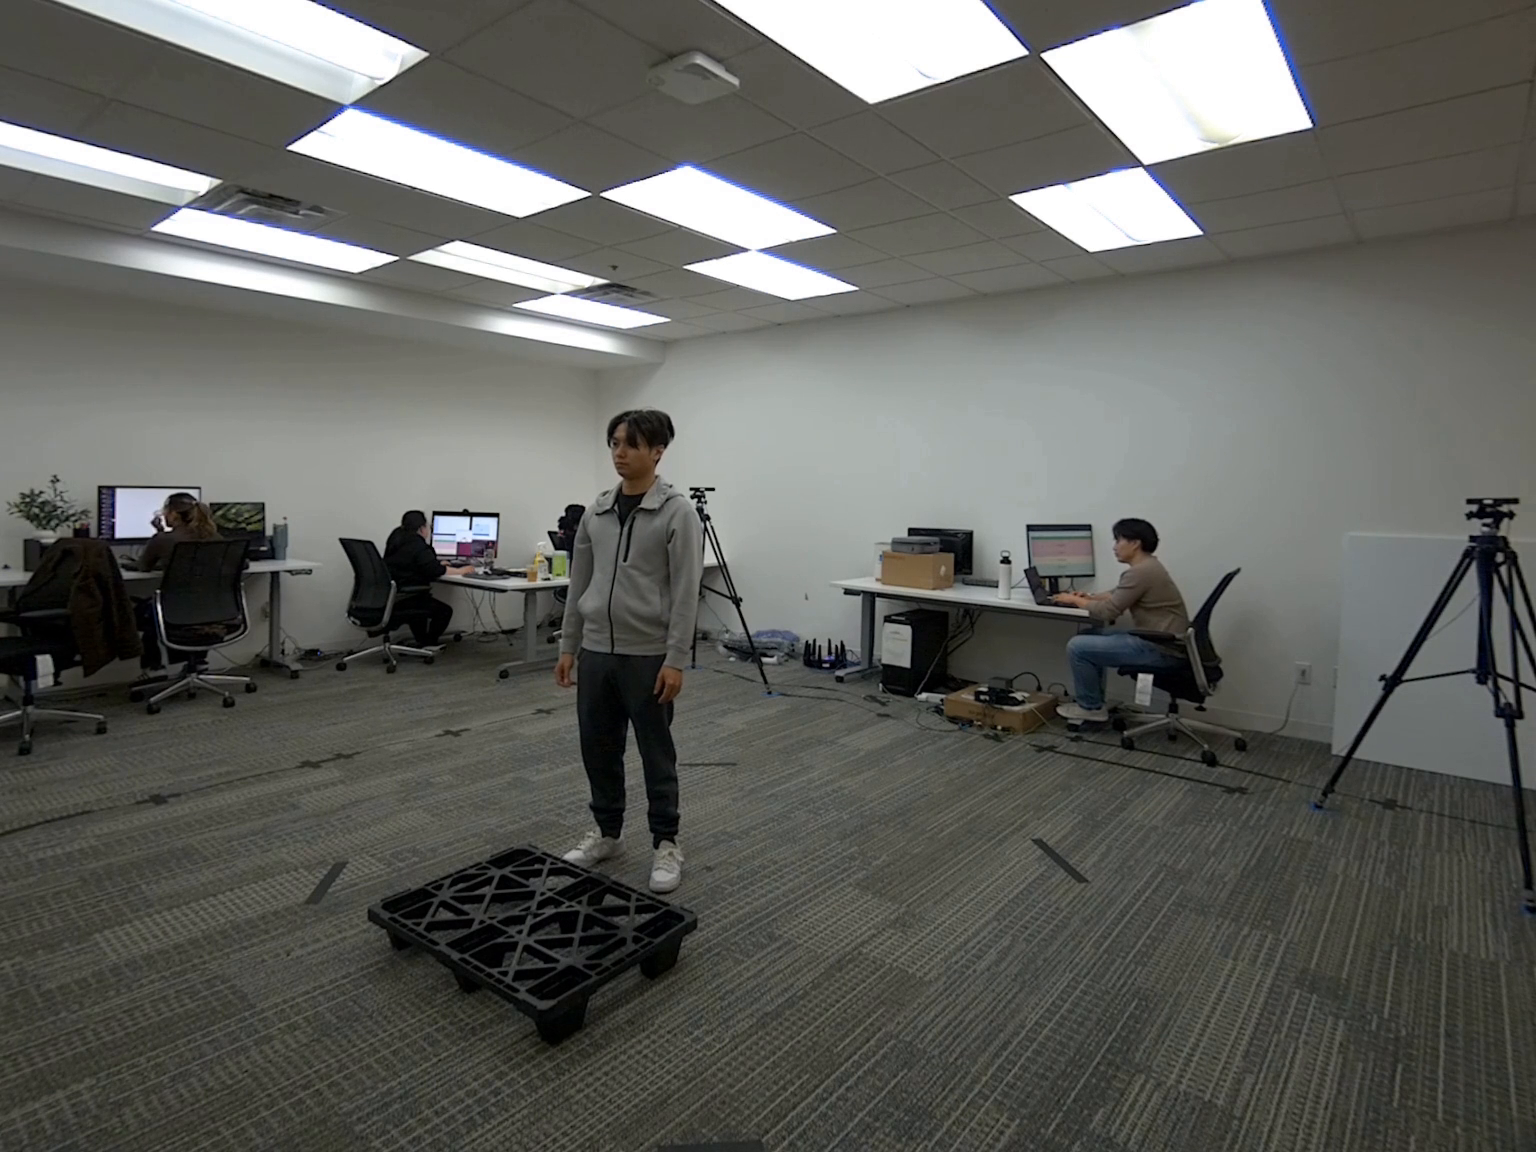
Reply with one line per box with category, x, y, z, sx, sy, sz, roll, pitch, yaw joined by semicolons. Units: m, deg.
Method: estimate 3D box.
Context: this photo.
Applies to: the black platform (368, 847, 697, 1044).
black platform;-0.705;1.050;2.521;0.832;0.143;0.588;5;7;36
